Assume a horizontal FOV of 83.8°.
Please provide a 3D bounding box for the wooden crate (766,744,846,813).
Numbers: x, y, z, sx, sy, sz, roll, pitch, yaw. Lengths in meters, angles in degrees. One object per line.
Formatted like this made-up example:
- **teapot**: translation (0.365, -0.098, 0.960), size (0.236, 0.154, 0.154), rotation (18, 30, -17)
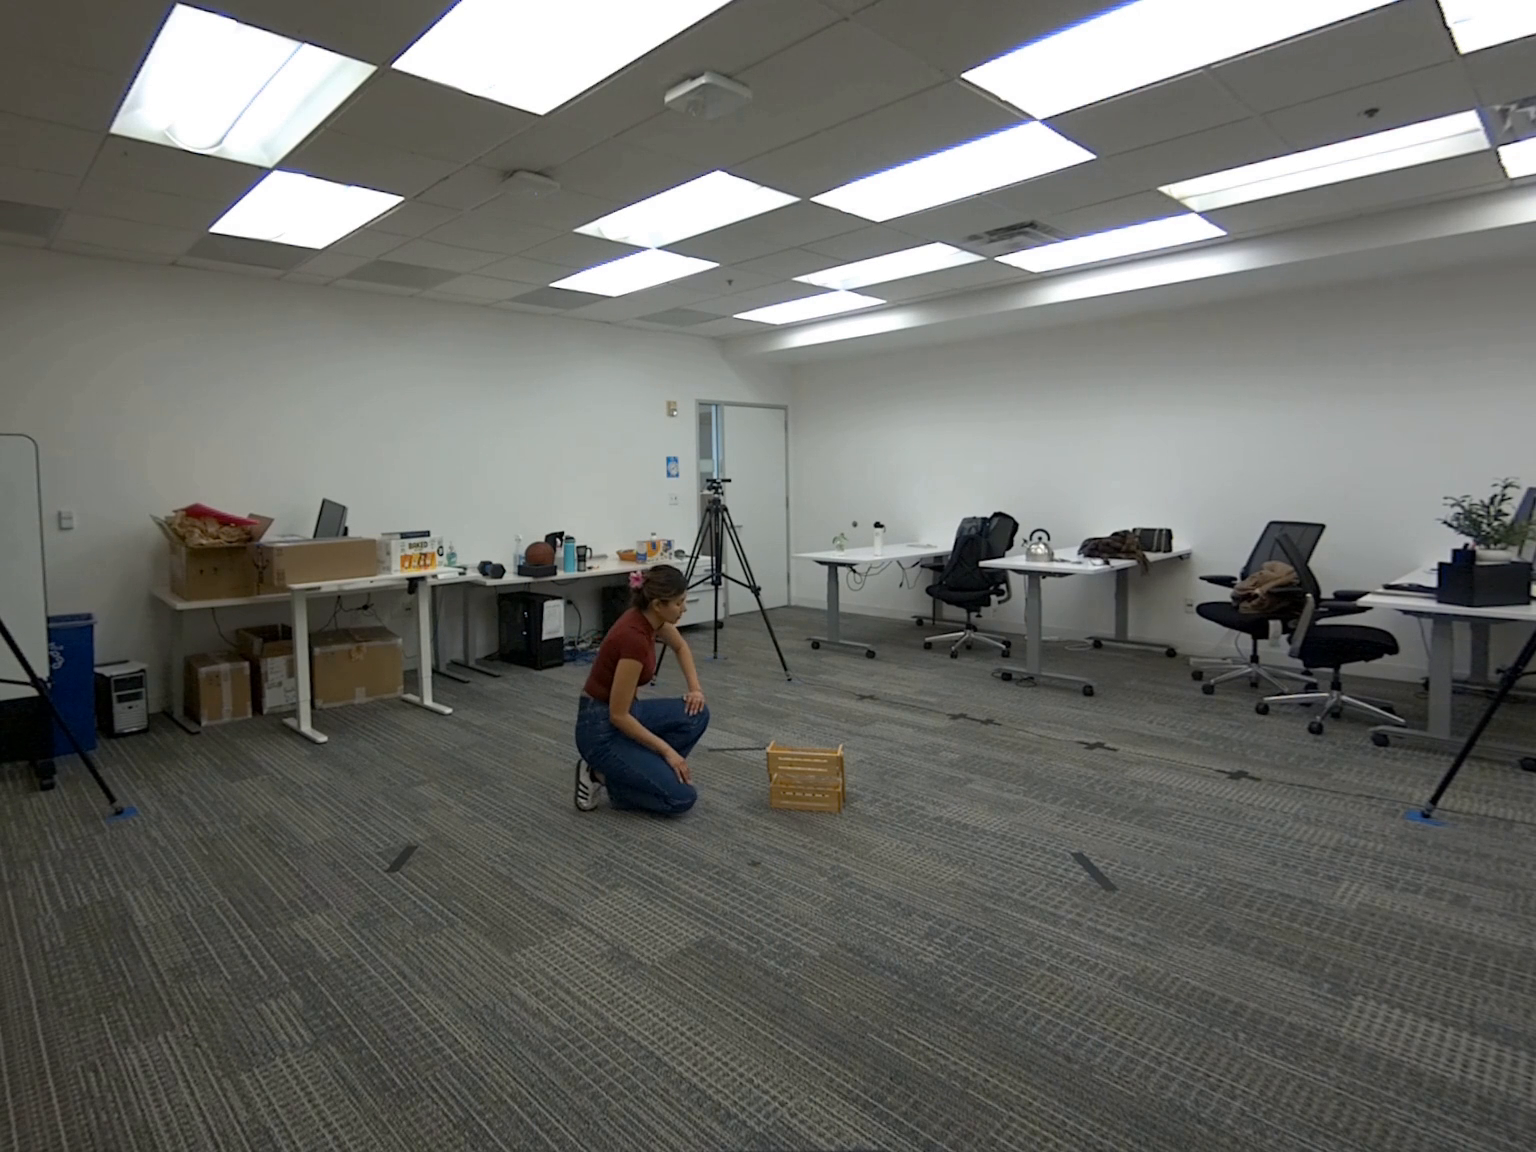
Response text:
- **wooden crate**: translation (0.166, 0.838, 3.691), size (0.328, 0.272, 0.299), rotation (0, 4, 11)
